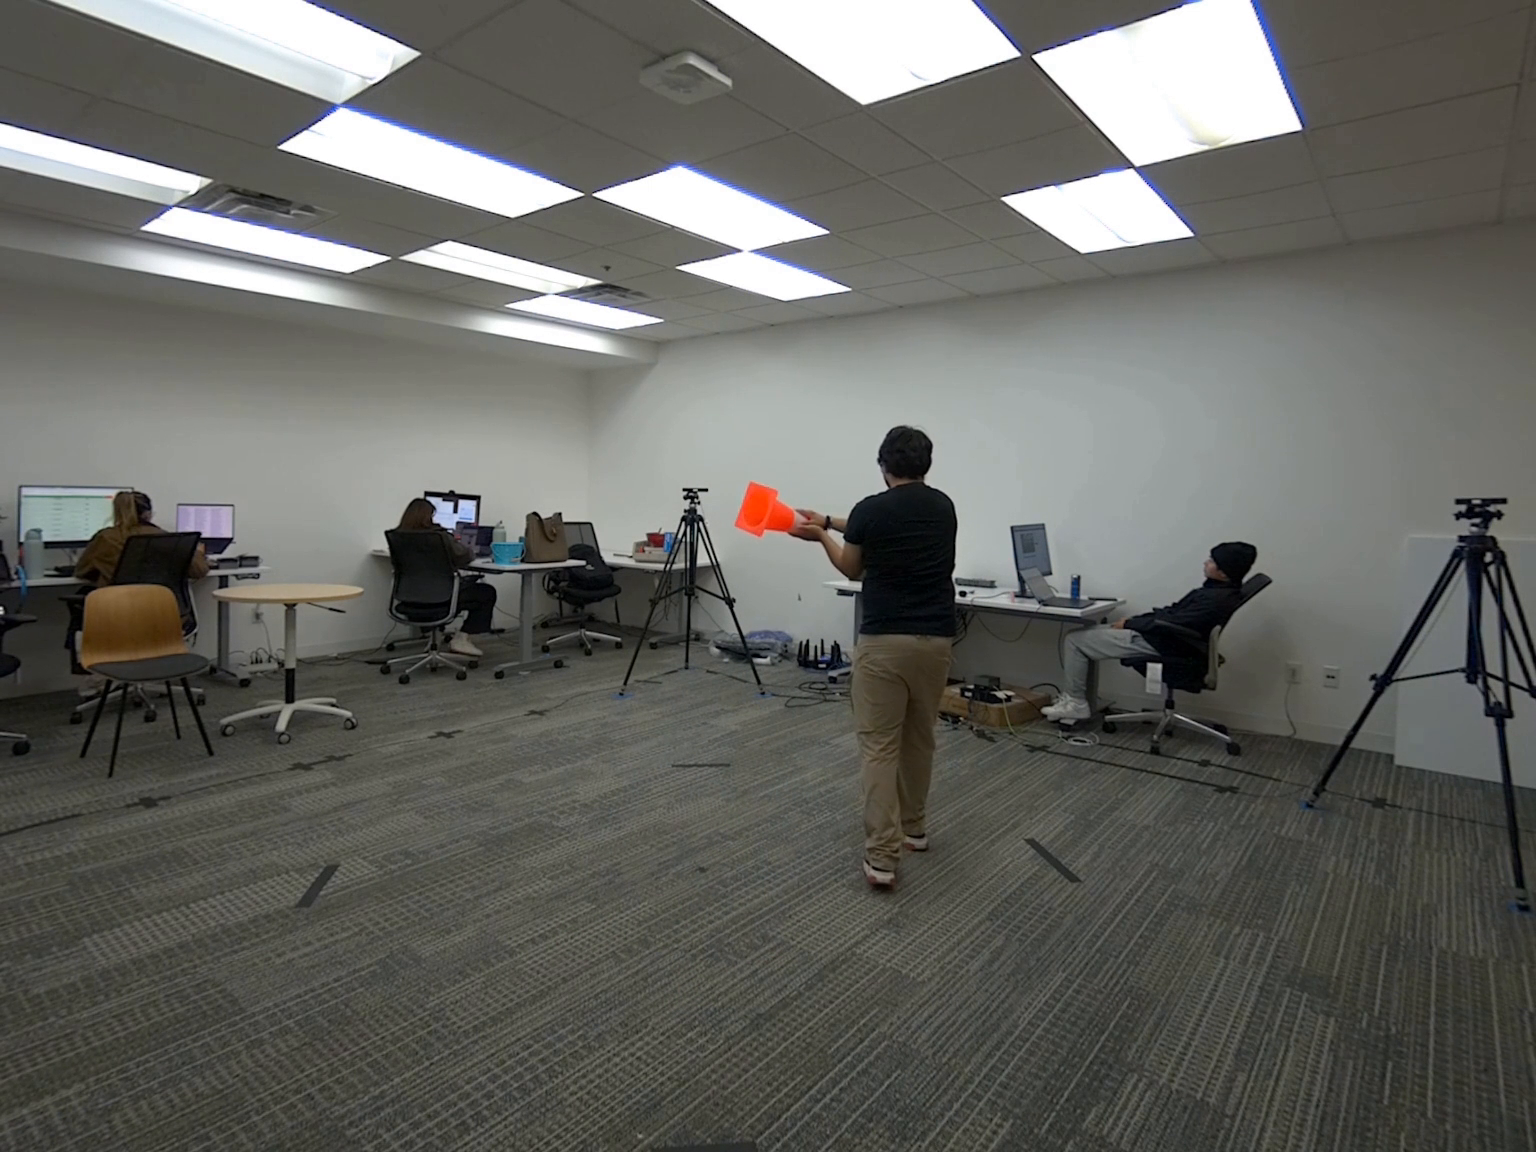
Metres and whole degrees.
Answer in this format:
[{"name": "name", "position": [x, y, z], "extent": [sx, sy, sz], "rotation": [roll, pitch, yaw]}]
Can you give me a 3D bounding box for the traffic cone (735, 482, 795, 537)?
[{"name": "traffic cone", "position": [0.078, -0.229, 3.541], "extent": [0.370, 0.203, 0.213], "rotation": [16, 5, -37]}]
